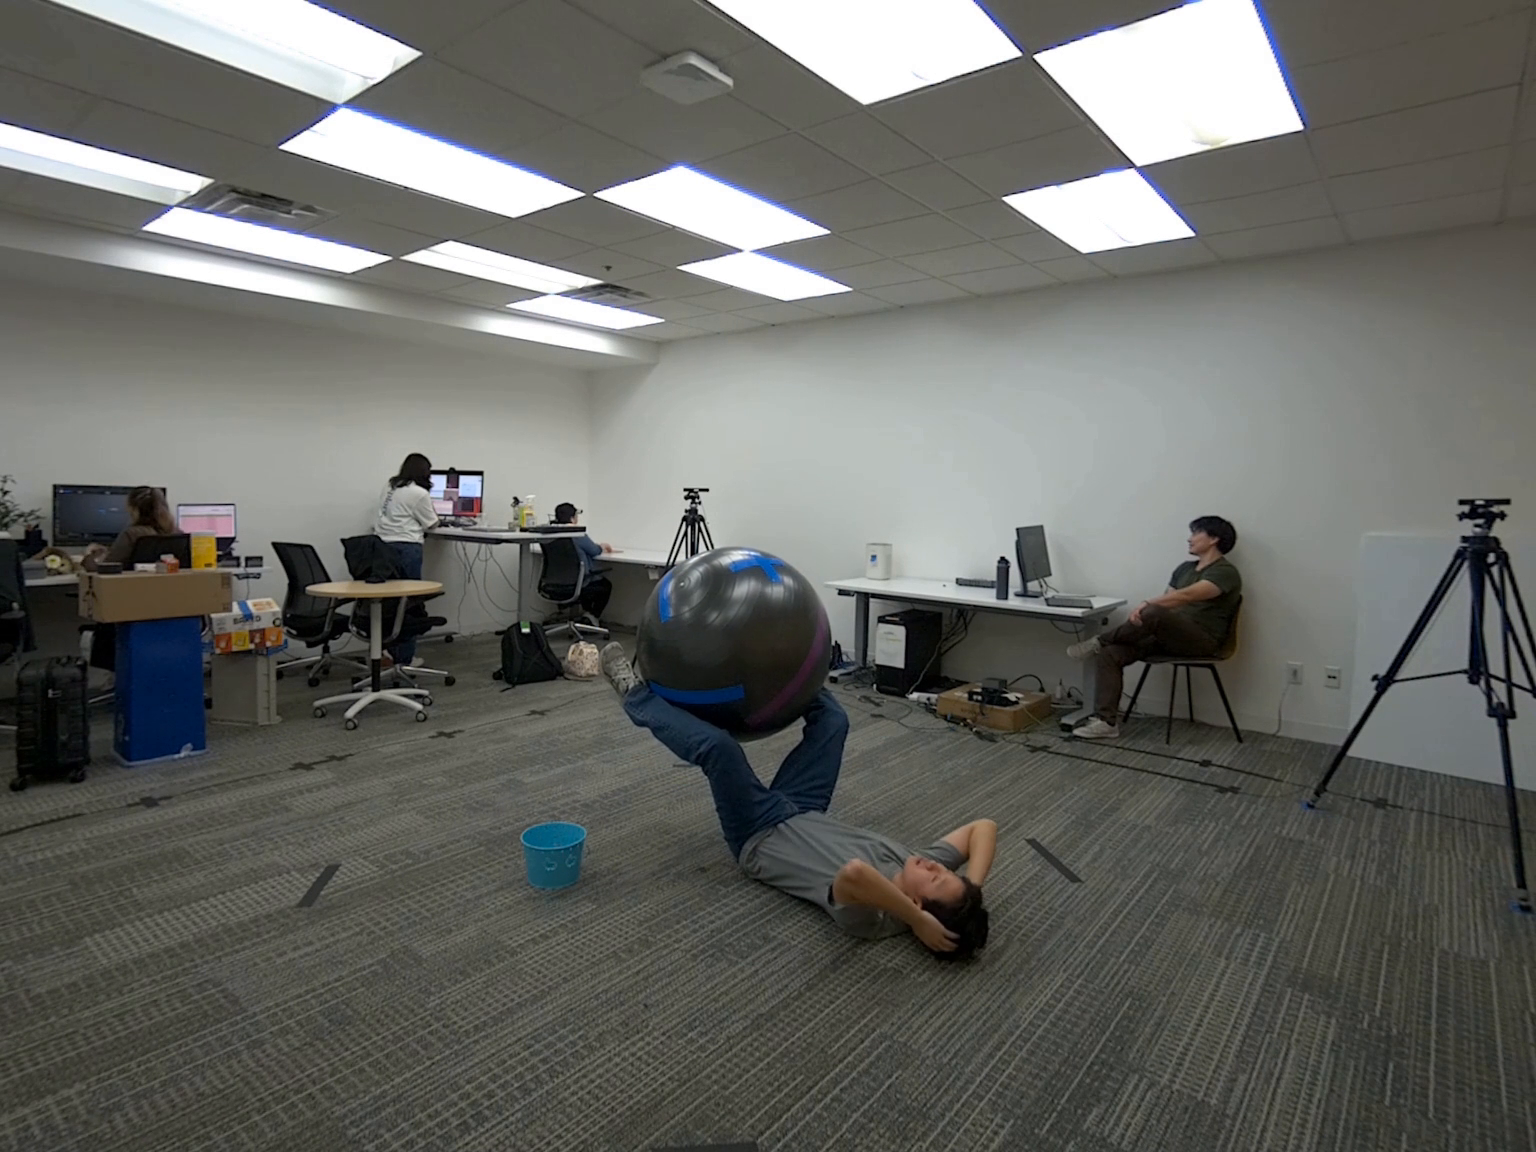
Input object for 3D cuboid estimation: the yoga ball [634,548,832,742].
[{"bbox_3d":[-0.143,0.266,3.322,0.757,0.756,0.761,1,4,-2],"label":"yoga ball"}]
